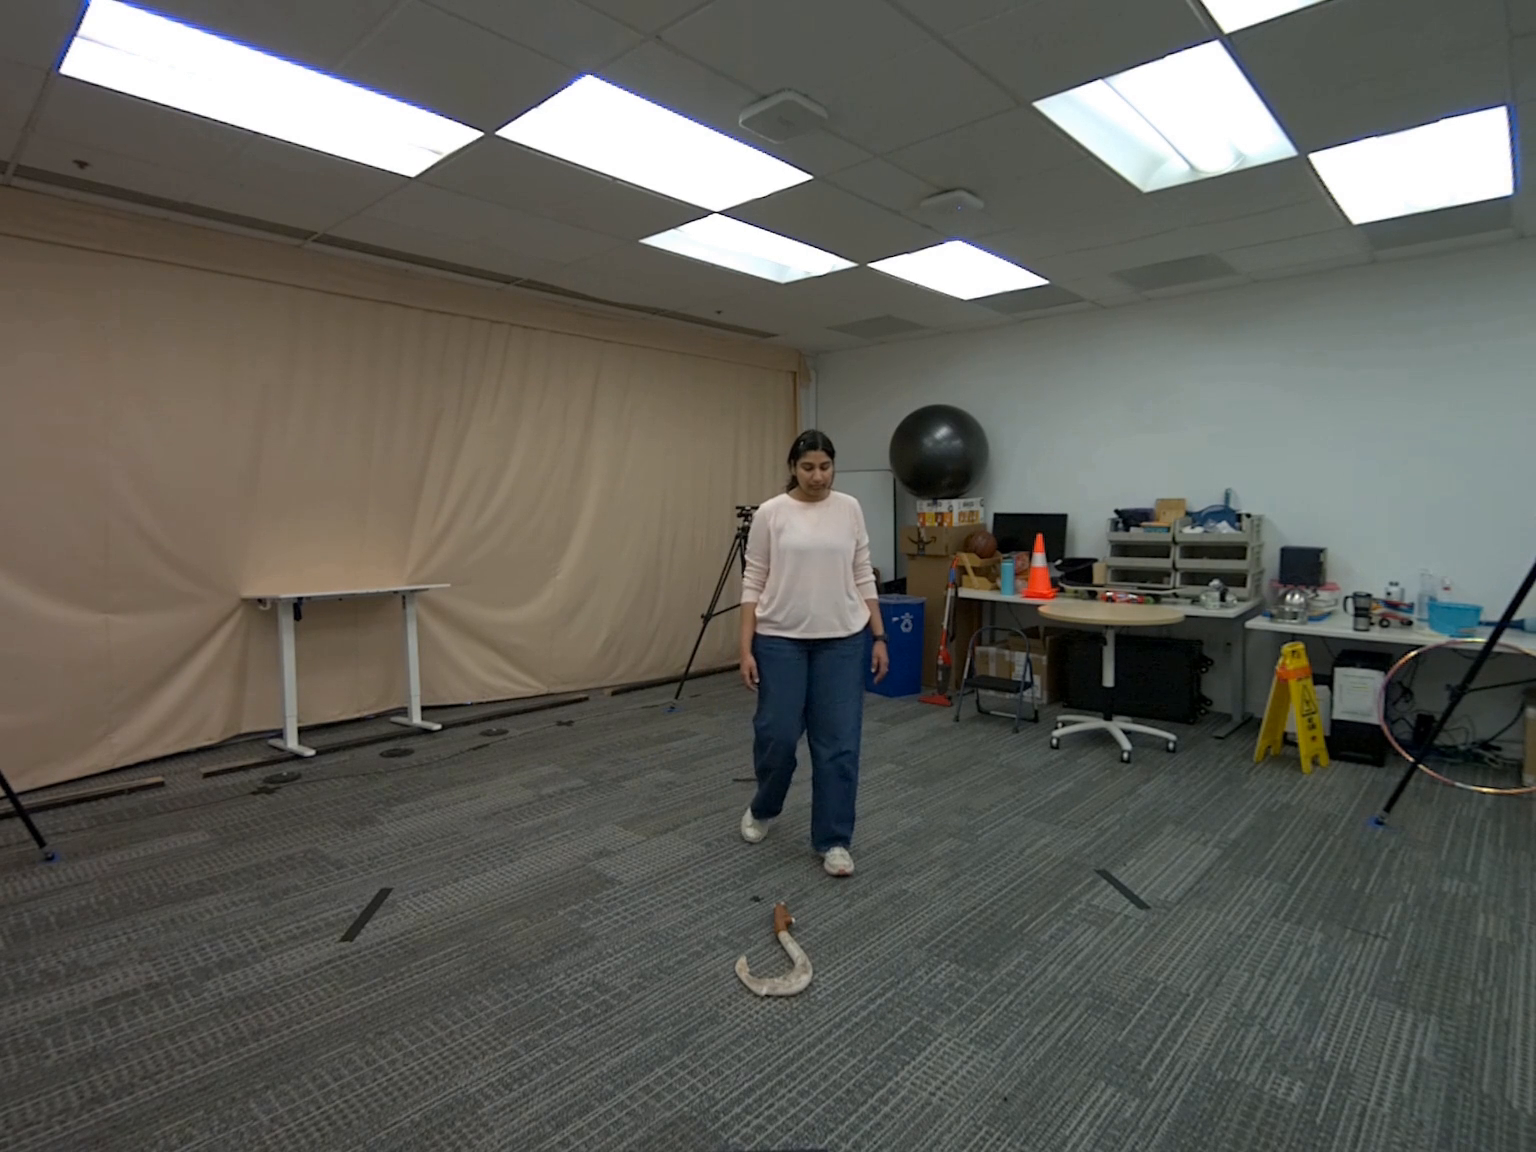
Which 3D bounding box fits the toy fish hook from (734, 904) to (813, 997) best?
[{"bbox_3d":[0.007,1.144,2.625,0.224,0.048,0.510,1,5,-5],"label":"toy fish hook"}]
